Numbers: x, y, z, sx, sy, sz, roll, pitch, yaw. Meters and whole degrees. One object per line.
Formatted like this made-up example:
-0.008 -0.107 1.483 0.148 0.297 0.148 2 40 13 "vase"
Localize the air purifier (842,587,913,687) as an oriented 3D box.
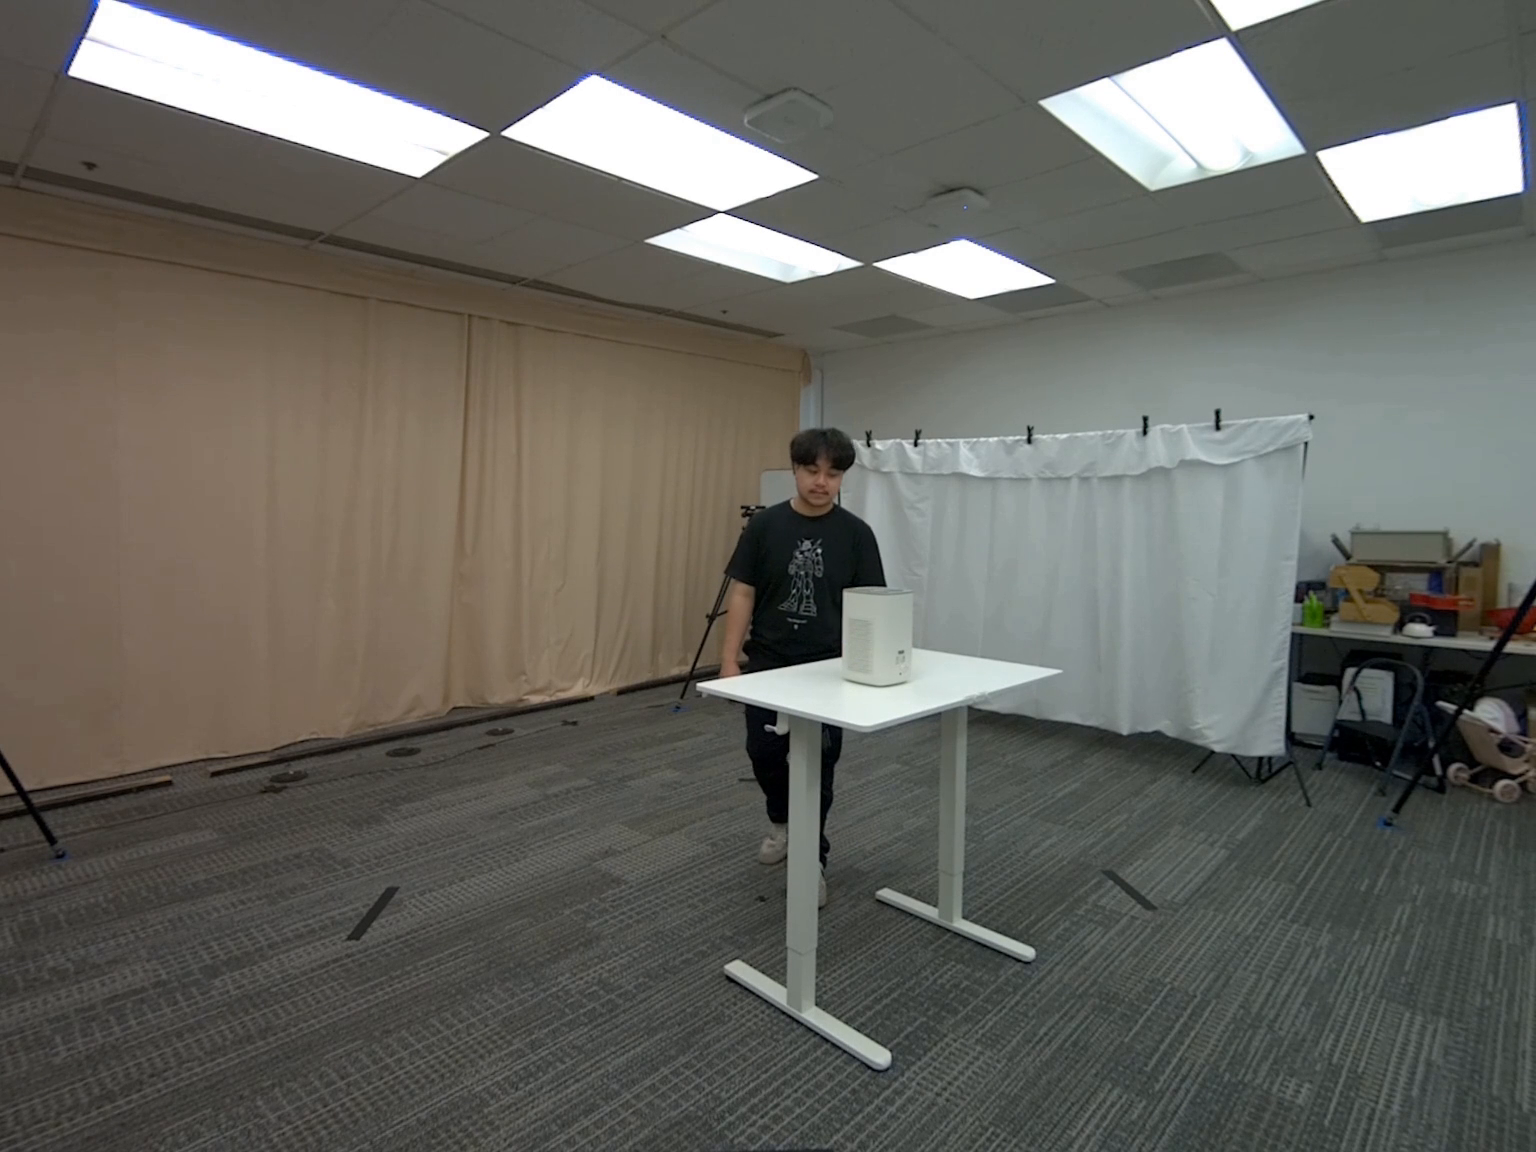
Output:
0.315 0.174 2.433 0.166 0.265 0.177 -2 4 -44 "air purifier"
